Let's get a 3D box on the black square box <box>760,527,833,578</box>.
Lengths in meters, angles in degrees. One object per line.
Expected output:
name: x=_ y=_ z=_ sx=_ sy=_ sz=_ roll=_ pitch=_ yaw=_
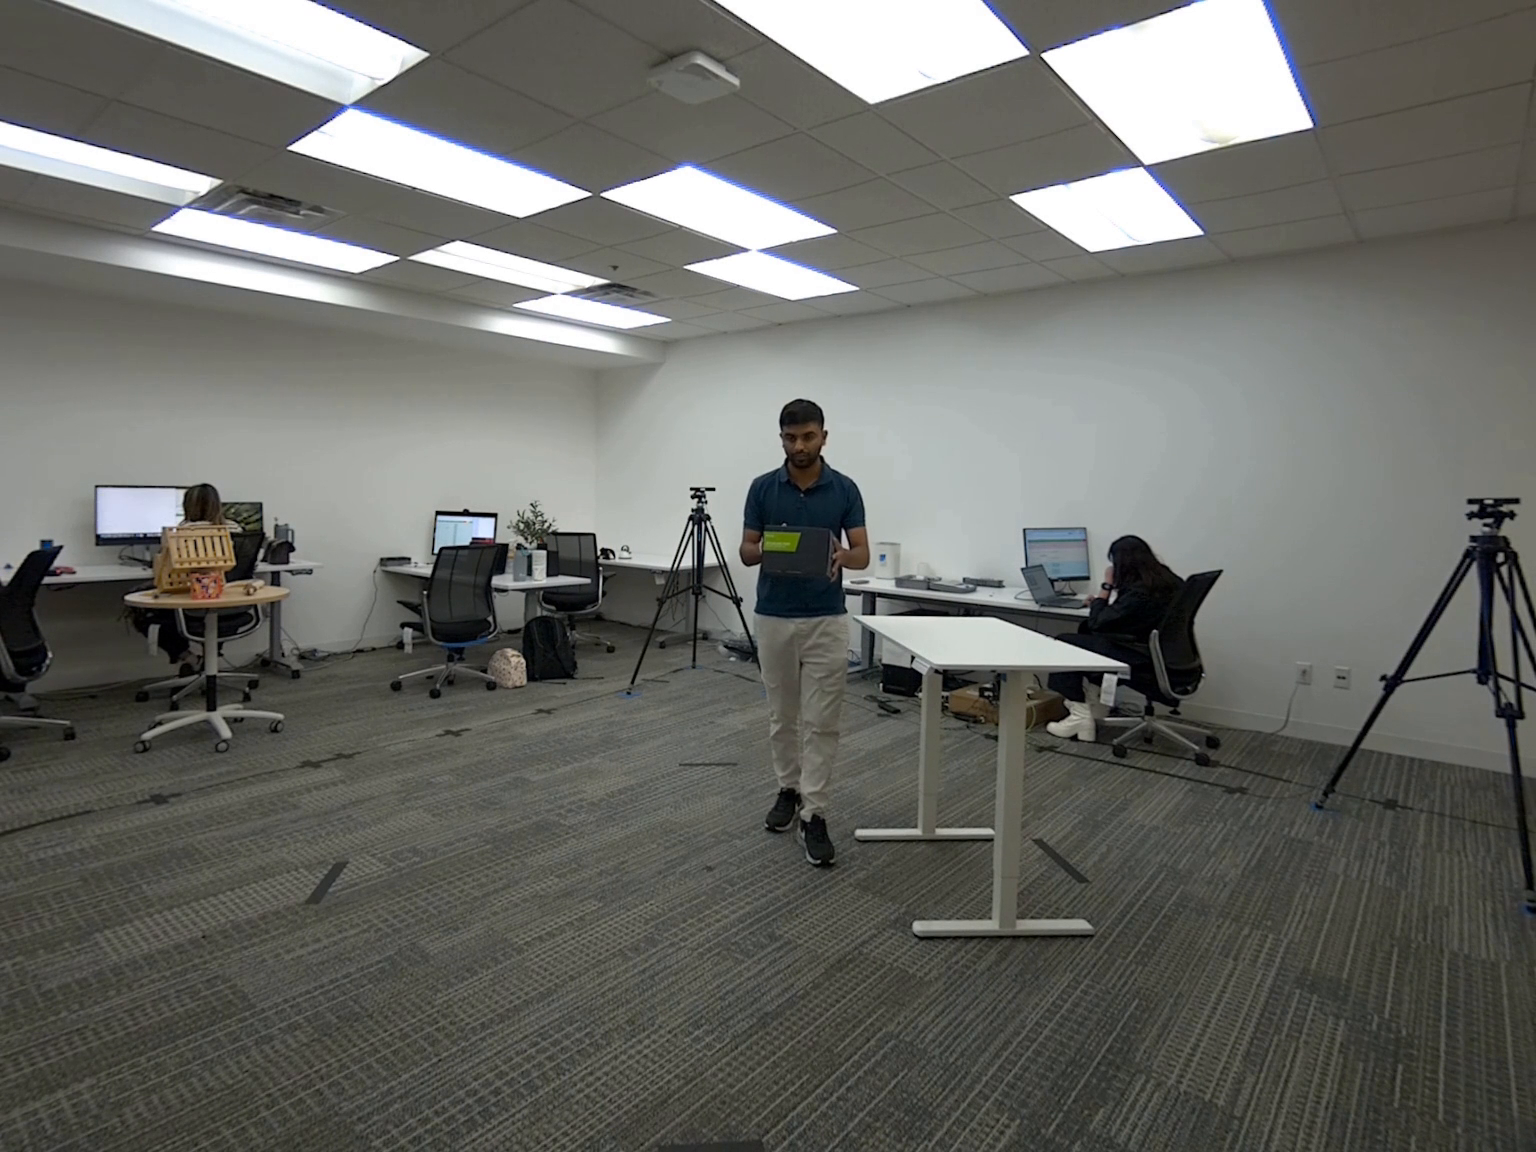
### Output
black square box: x=0.110 y=-0.085 z=2.979 sx=0.231 sy=0.157 sz=0.213 roll=4 pitch=-5 yaw=12
